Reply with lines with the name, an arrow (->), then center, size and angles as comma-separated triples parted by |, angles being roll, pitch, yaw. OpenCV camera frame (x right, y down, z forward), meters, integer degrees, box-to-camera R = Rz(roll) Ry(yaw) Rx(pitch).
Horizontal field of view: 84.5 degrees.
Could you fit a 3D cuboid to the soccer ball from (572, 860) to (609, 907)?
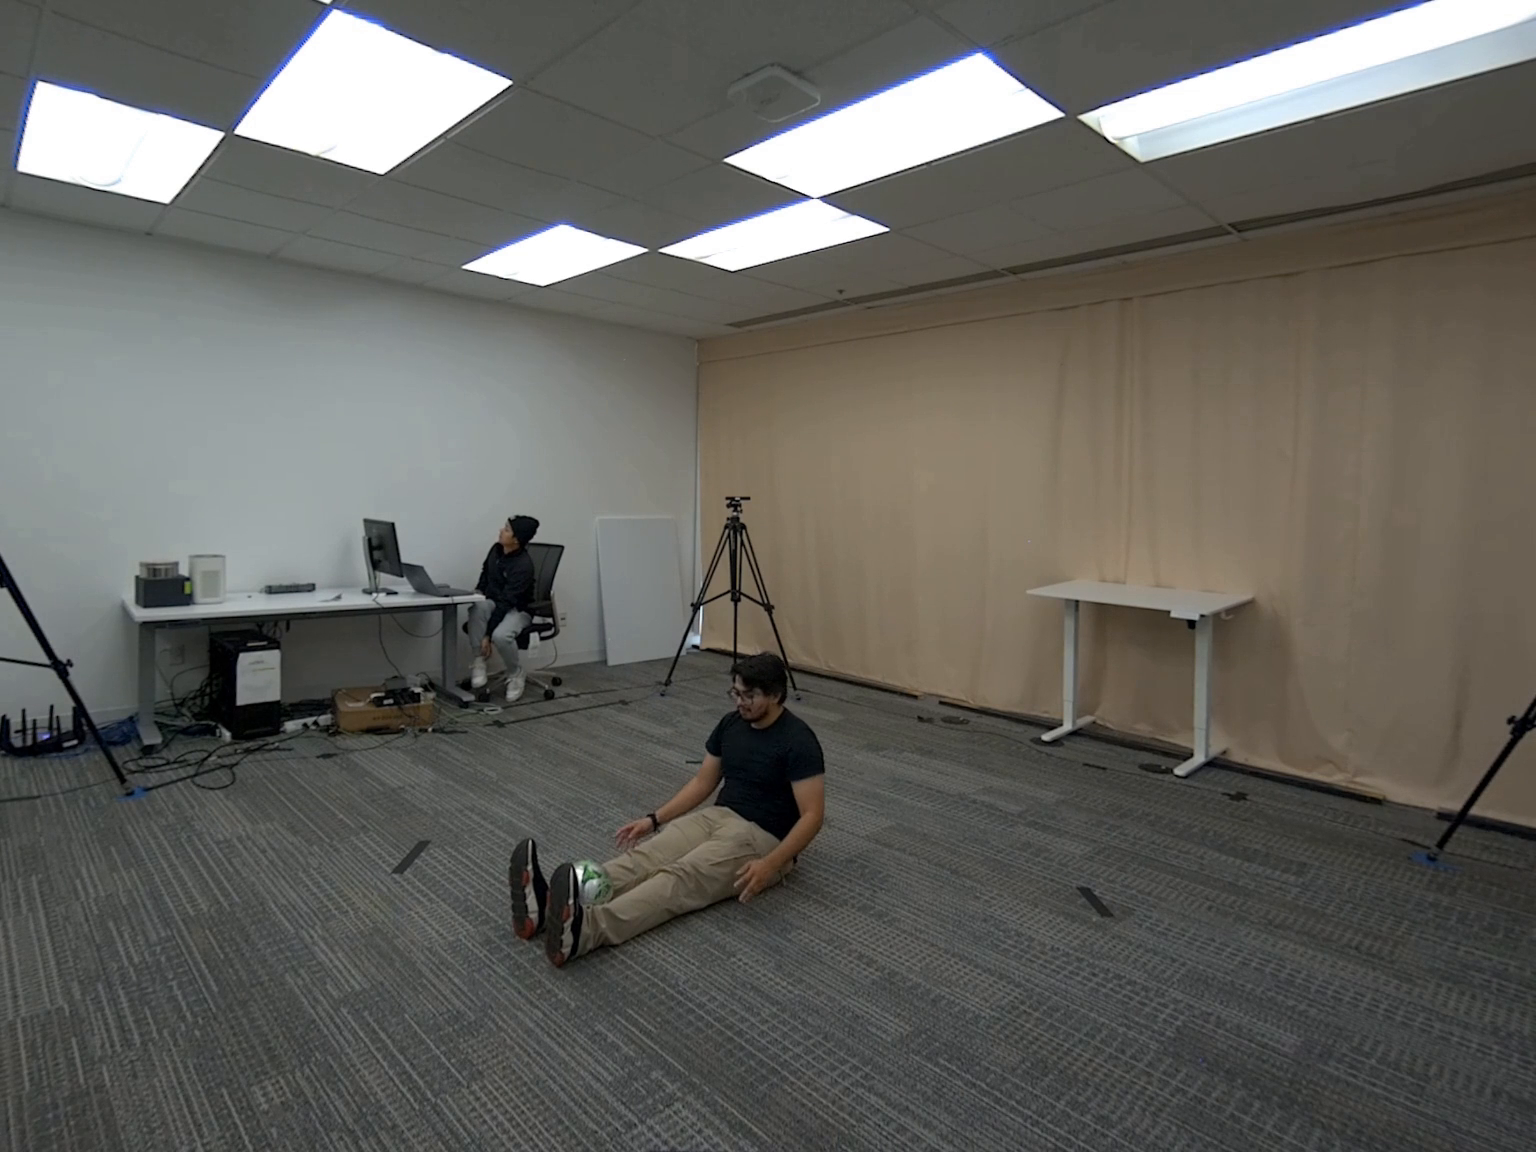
soccer ball -> -0.598, 1.011, 2.678 | 0.187, 0.187, 0.188 | 1, 5, -1
